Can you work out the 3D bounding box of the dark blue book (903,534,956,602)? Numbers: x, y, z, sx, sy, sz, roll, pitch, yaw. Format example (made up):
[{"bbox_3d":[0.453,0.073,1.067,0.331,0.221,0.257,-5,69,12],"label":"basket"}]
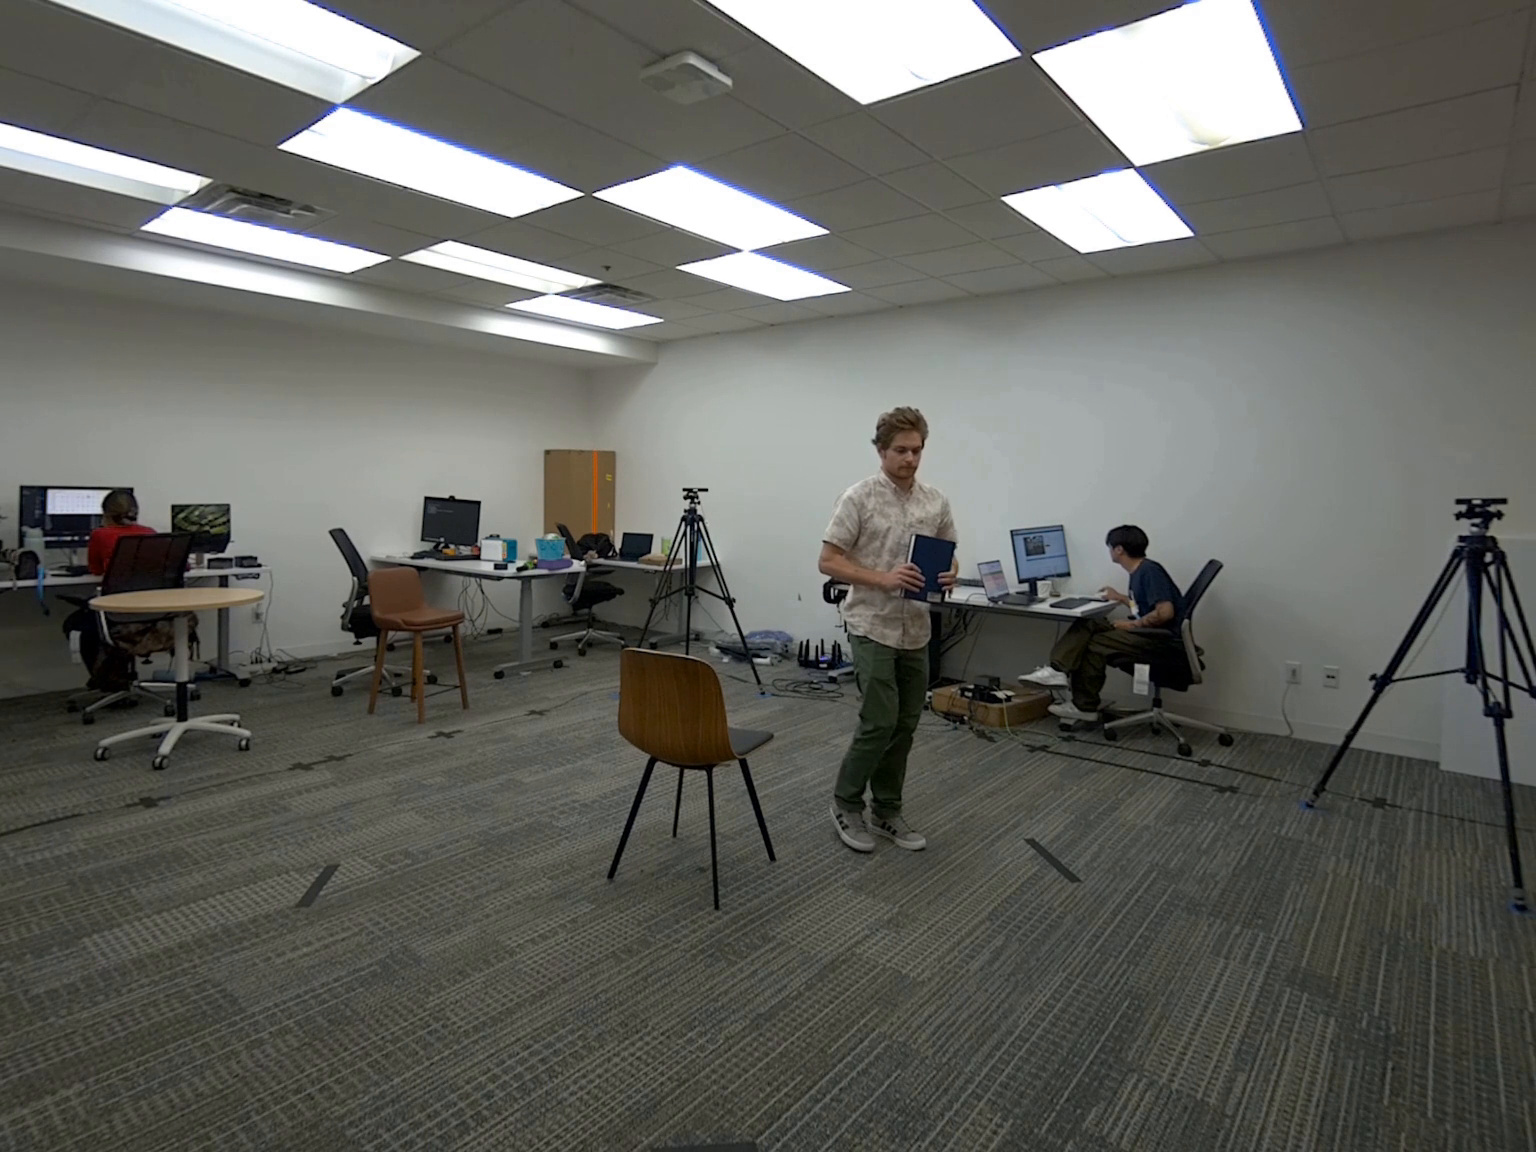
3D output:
[{"bbox_3d":[0.589,-0.030,3.196,0.162,0.245,0.045,10,1,-4],"label":"dark blue book"}]
